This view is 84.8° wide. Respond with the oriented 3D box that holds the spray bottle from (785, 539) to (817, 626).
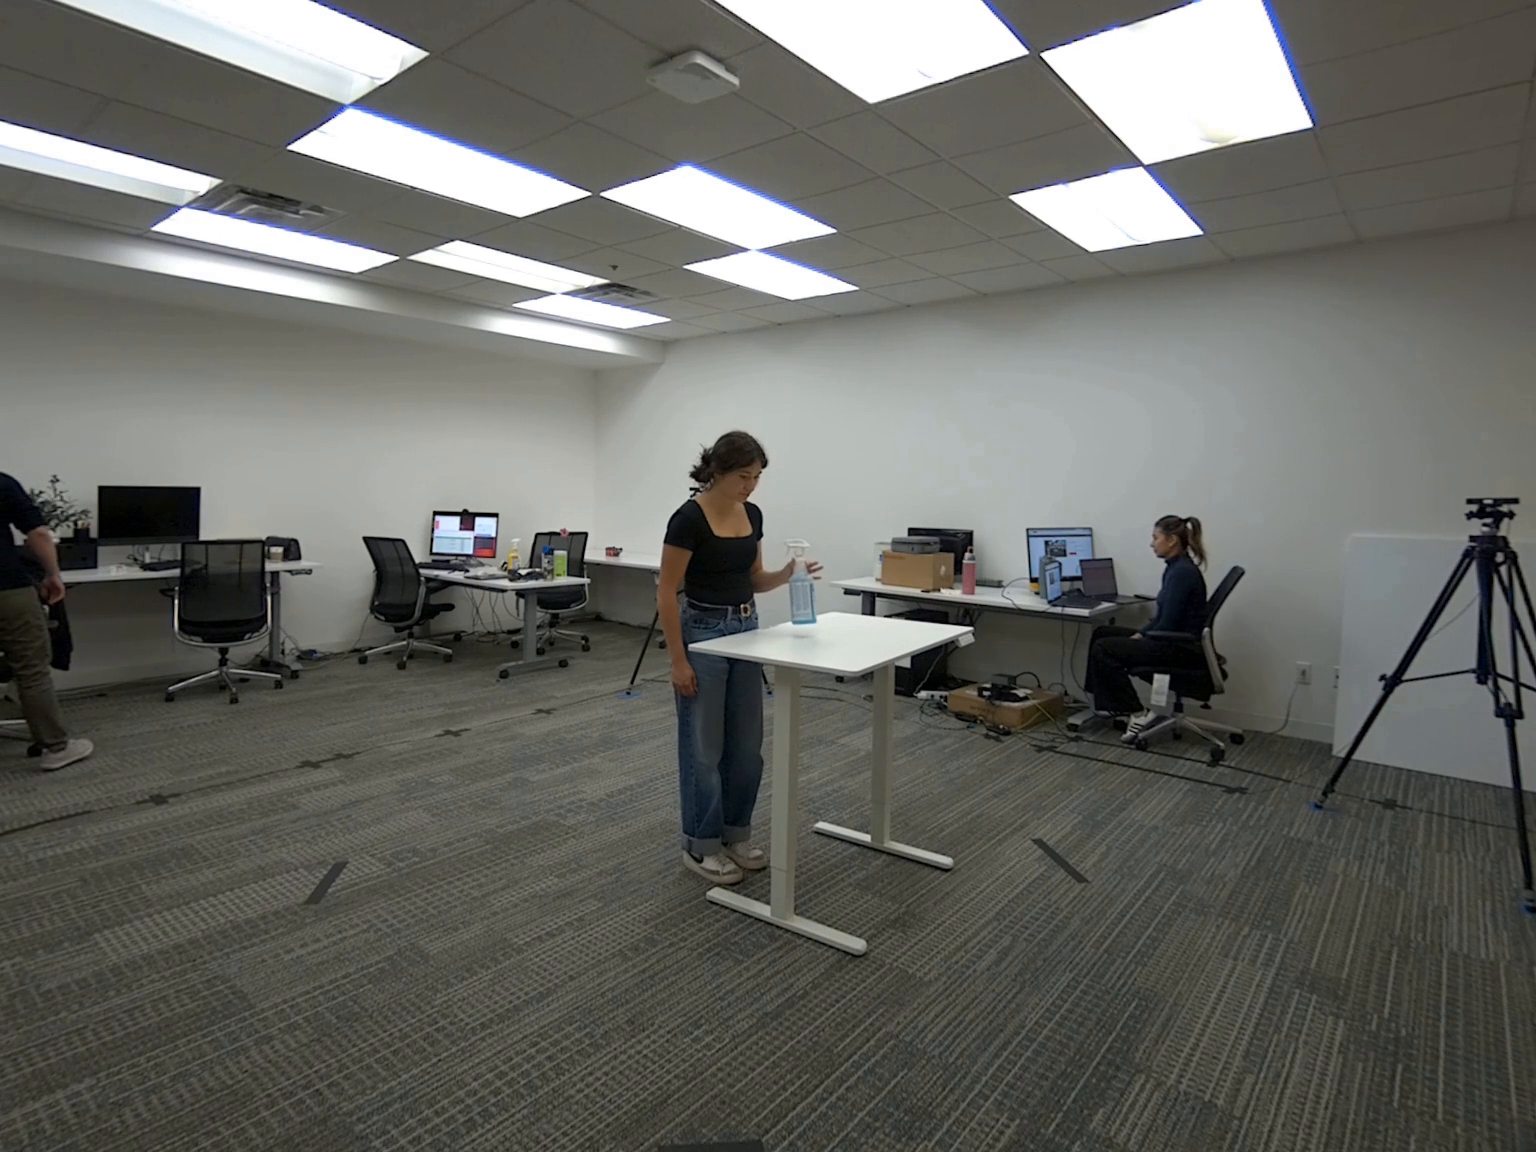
[{"bbox_3d":[0.110,0.021,2.959,0.092,0.299,0.084,-11,-8,42],"label":"spray bottle"}]
